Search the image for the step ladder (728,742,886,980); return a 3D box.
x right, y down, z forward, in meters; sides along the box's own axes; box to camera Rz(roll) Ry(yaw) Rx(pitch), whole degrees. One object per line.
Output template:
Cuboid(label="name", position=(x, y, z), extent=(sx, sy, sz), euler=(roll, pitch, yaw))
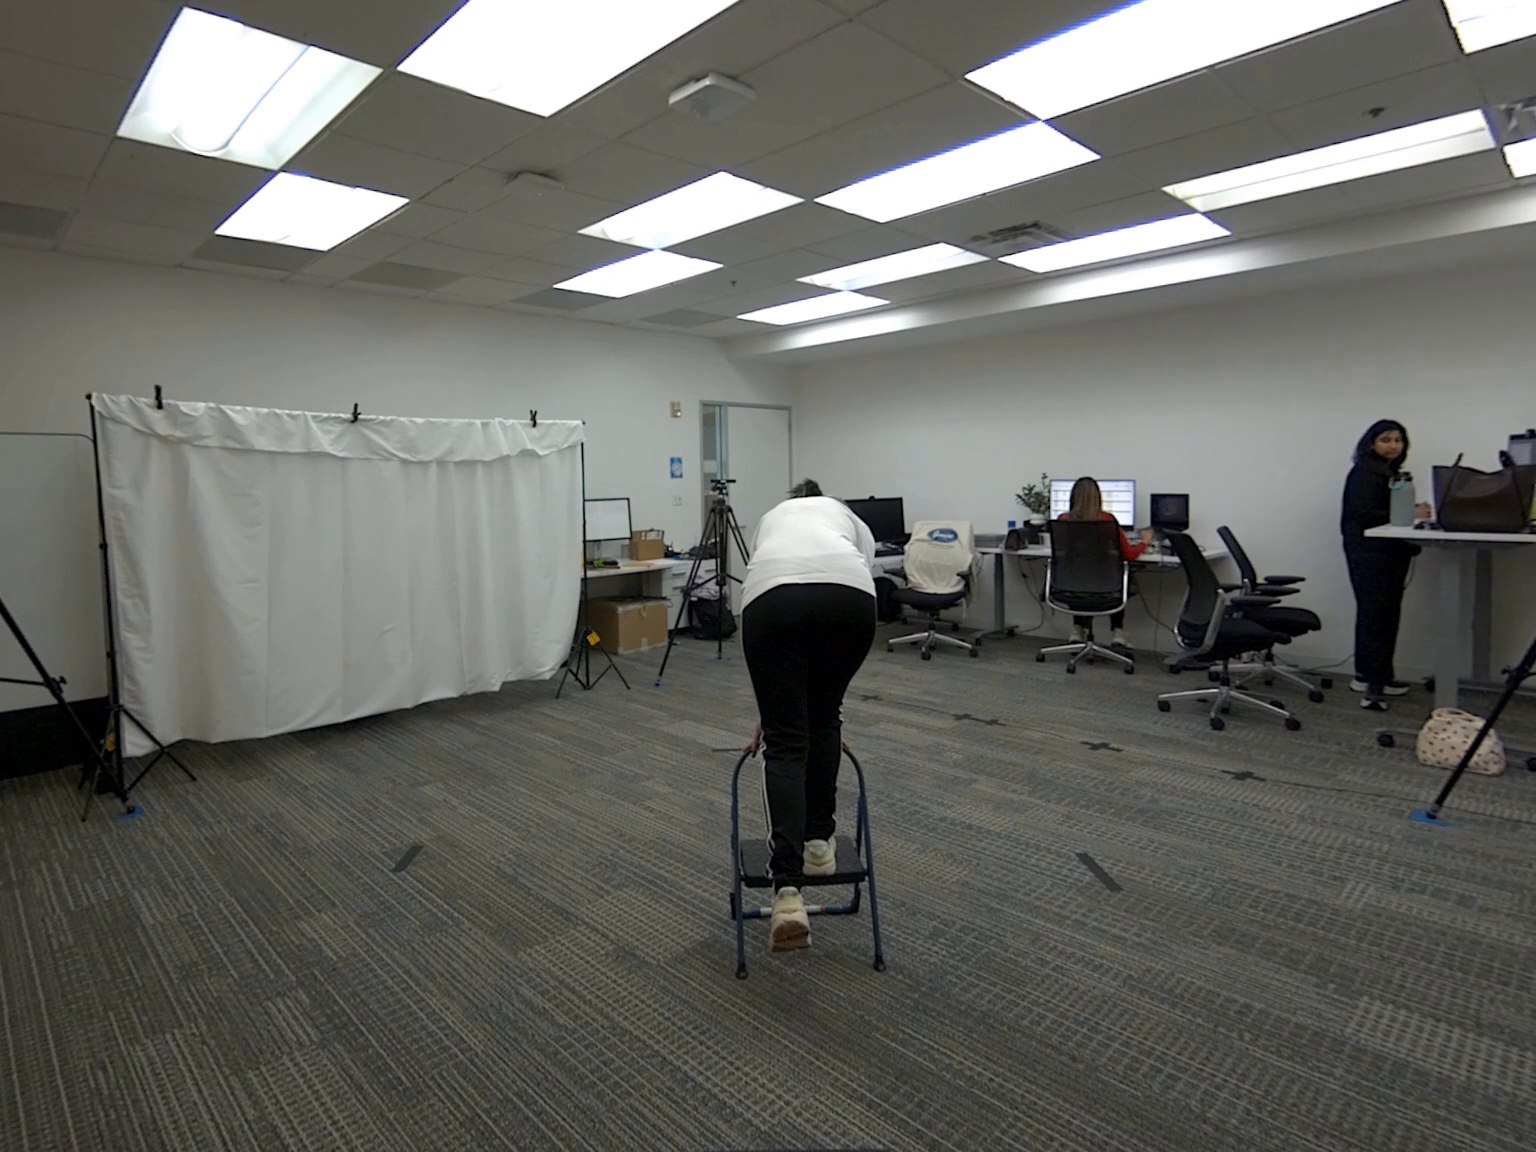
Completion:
Cuboid(label="step ladder", position=(0.102, 0.809, 2.565), extent=(0.429, 0.604, 0.352), euler=(-2, 4, -4))
